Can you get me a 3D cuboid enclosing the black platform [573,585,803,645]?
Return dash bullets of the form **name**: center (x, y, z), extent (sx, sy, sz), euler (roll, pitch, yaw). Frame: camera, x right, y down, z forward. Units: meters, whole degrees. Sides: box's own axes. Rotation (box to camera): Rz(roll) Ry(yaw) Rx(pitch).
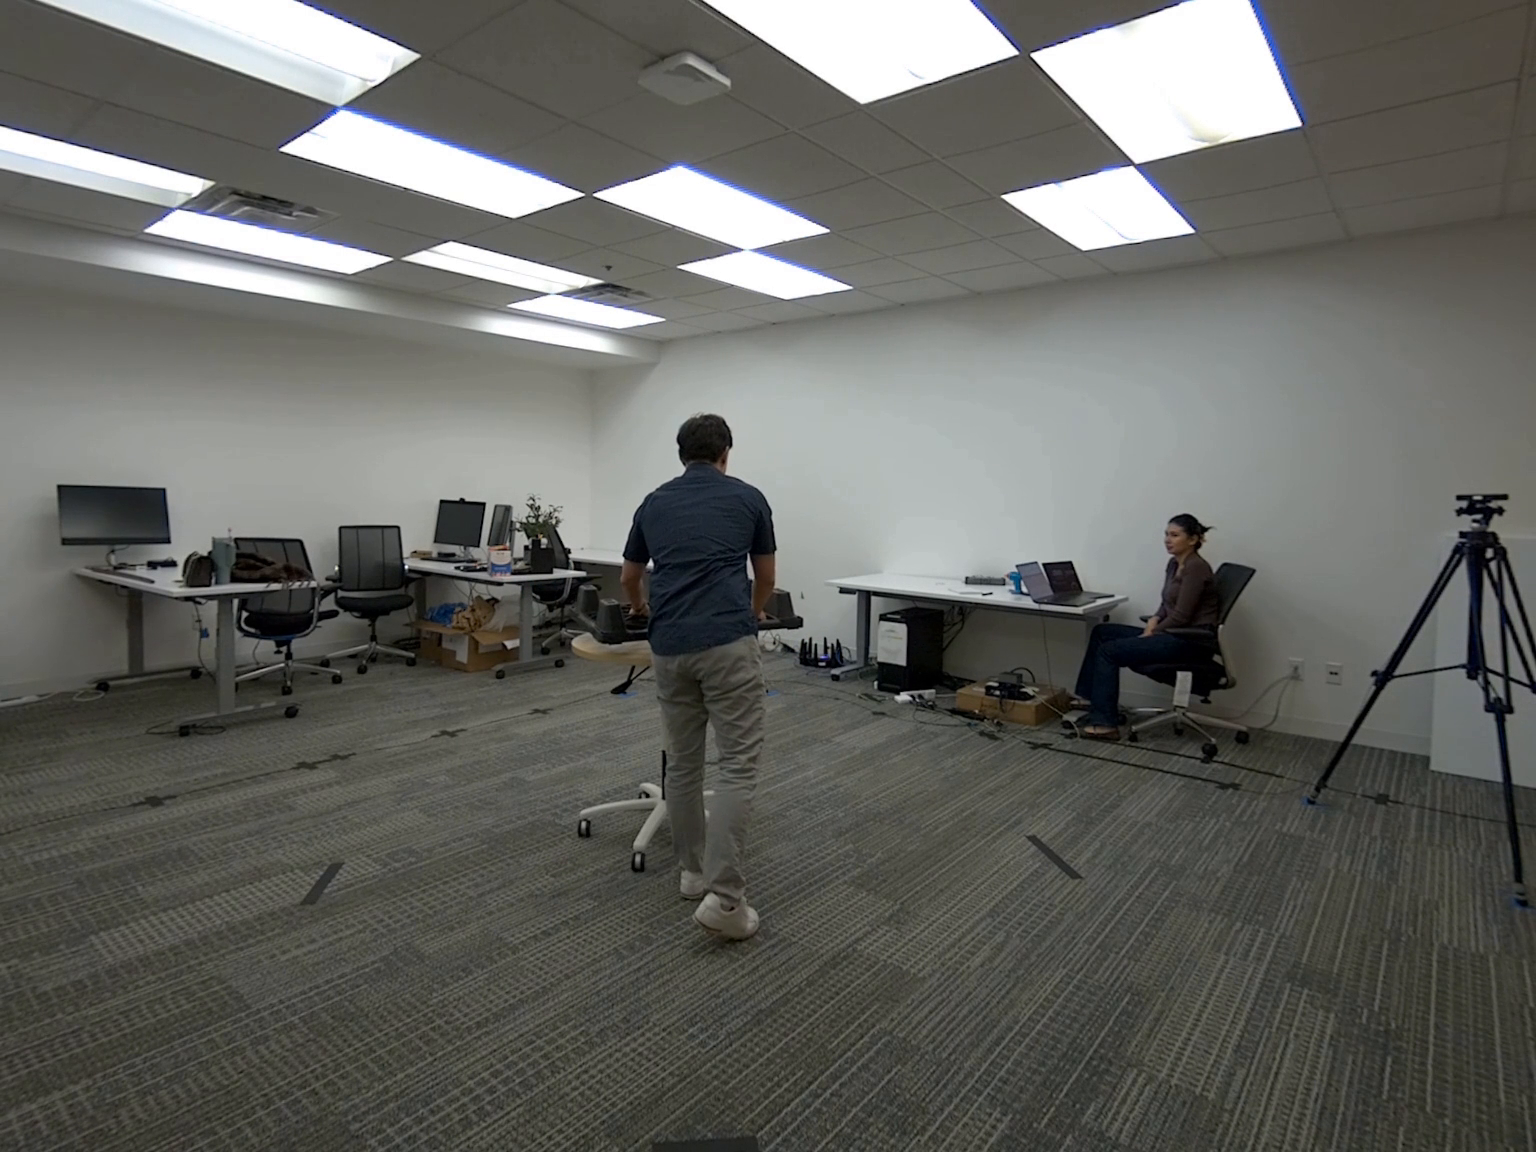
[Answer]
- **black platform**: center (-0.350, 0.115, 3.413), extent (0.789, 0.142, 0.622), euler (-3, 9, -22)
